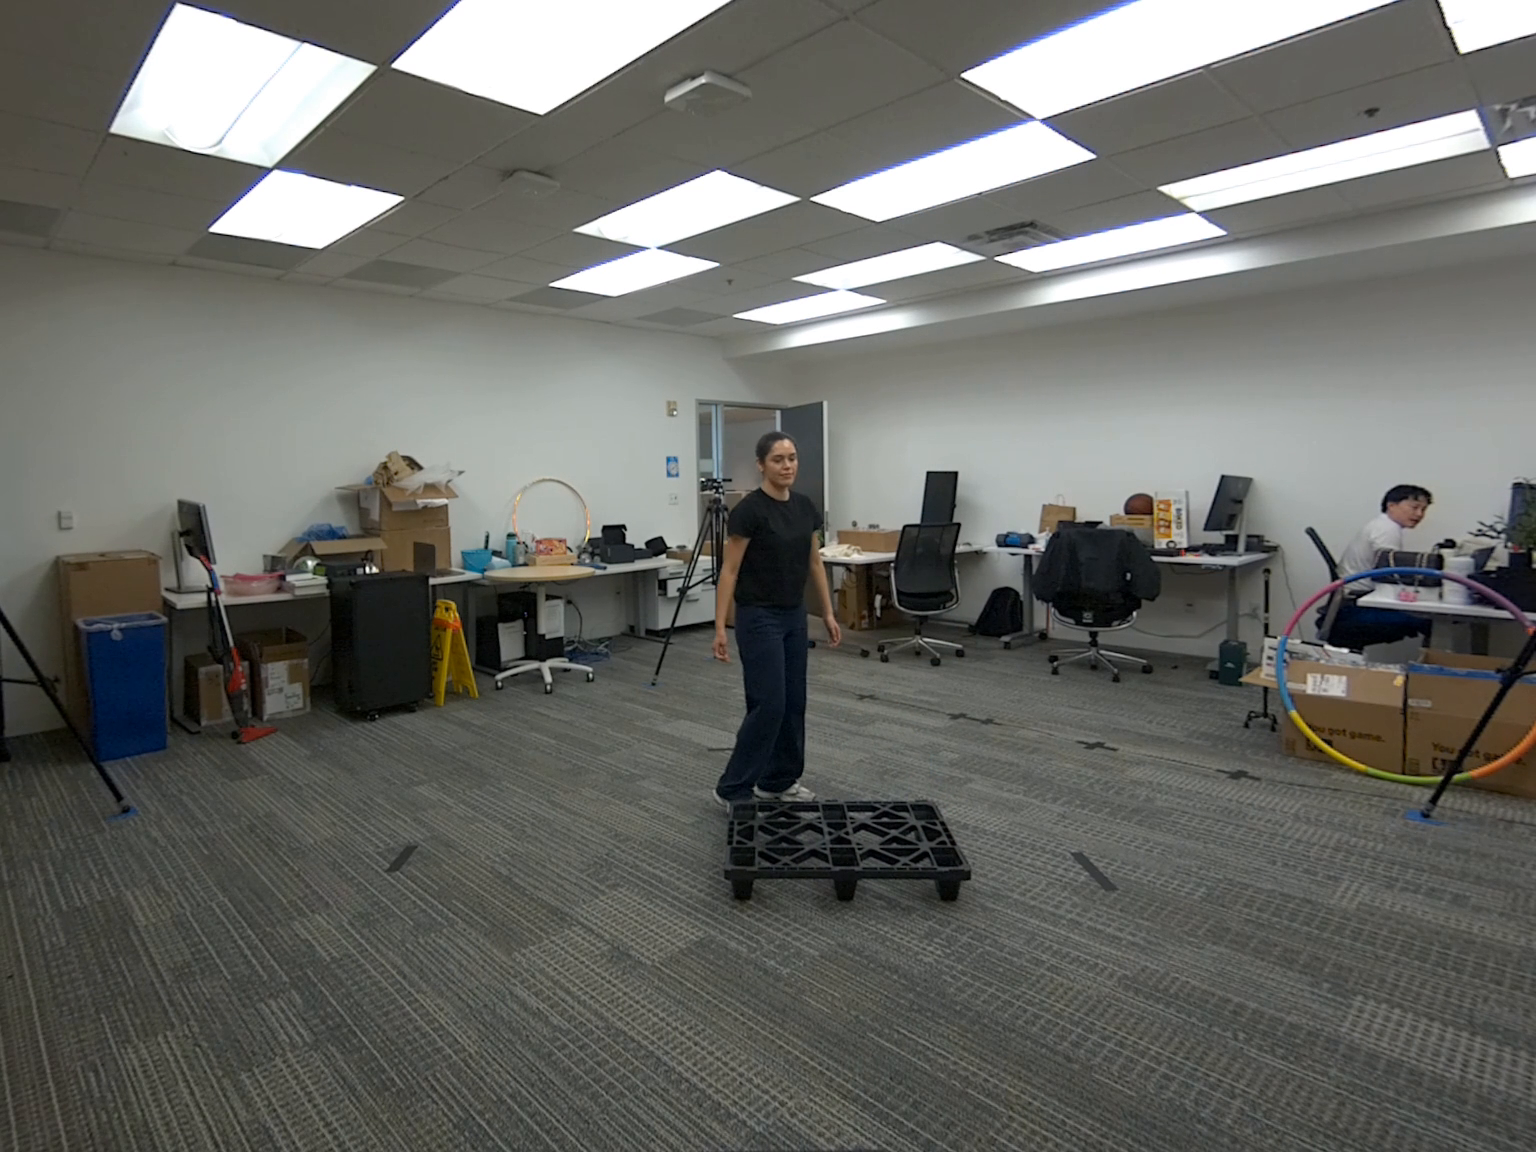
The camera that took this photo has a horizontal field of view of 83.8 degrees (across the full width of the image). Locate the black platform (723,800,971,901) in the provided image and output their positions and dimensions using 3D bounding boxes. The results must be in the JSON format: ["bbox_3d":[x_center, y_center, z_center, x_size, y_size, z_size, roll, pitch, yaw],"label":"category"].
[{"bbox_3d":[0.254,0.976,3.061,0.807,0.142,0.607,-1,7,2],"label":"black platform"}]
